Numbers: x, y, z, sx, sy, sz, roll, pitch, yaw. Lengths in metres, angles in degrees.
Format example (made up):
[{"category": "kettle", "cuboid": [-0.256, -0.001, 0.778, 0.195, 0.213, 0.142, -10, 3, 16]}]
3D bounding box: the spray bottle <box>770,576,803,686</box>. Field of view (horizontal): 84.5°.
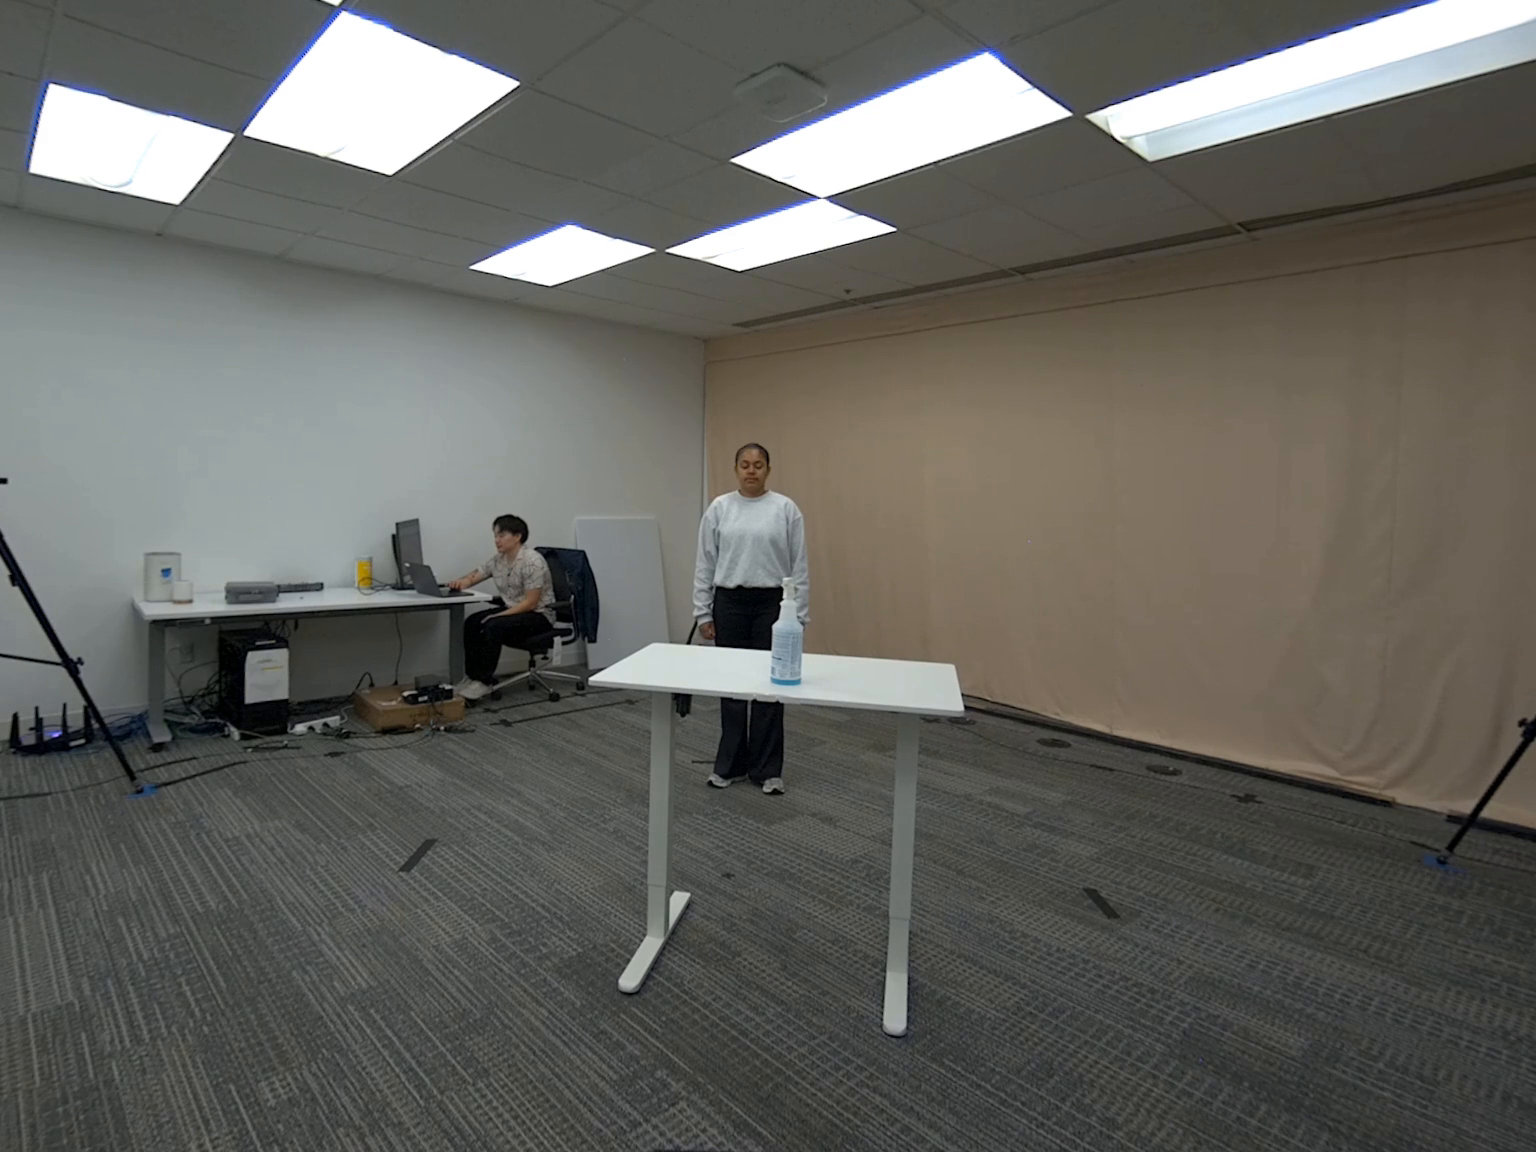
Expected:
[{"category": "spray bottle", "cuboid": [0.041, 0.155, 2.345, 0.089, 0.296, 0.088, 5, 8, 40]}]
